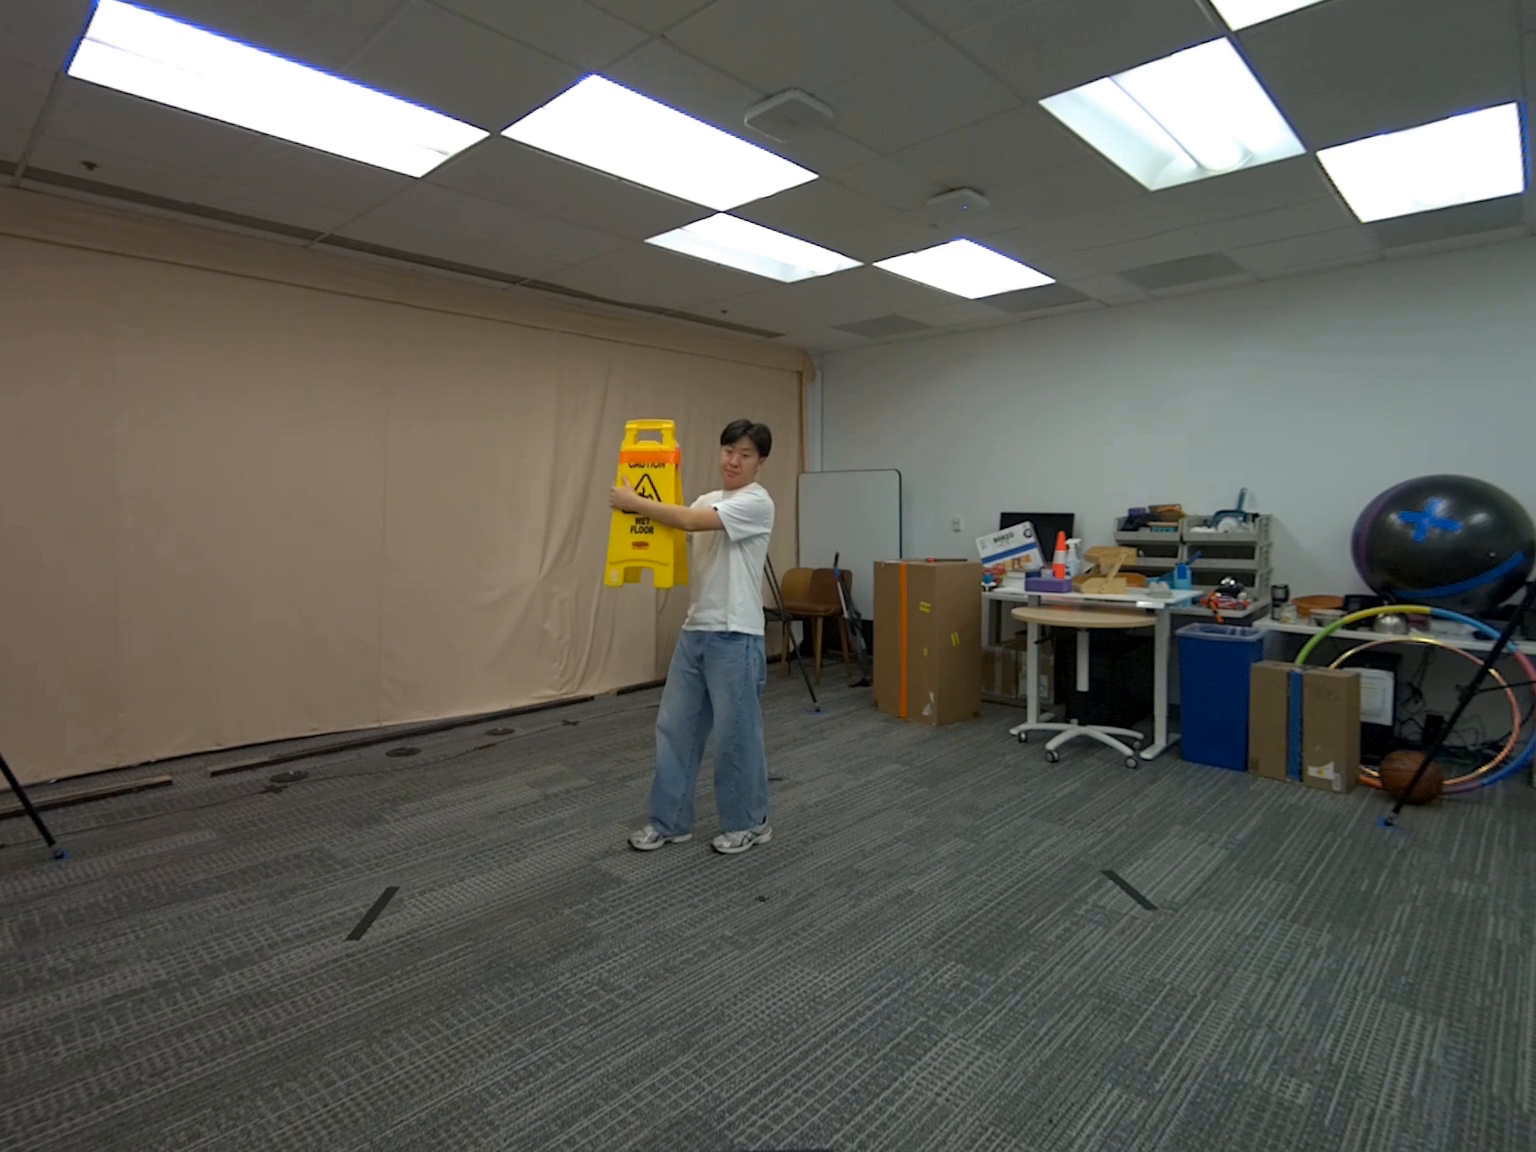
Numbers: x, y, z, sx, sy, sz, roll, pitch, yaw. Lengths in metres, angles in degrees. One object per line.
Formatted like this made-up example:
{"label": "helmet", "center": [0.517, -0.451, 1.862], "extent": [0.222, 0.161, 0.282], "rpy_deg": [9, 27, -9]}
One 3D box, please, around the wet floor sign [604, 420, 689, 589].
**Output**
{"label": "wet floor sign", "center": [-0.471, -0.288, 3.347], "extent": [0.286, 0.646, 0.286], "rpy_deg": [2, 0, 12]}
